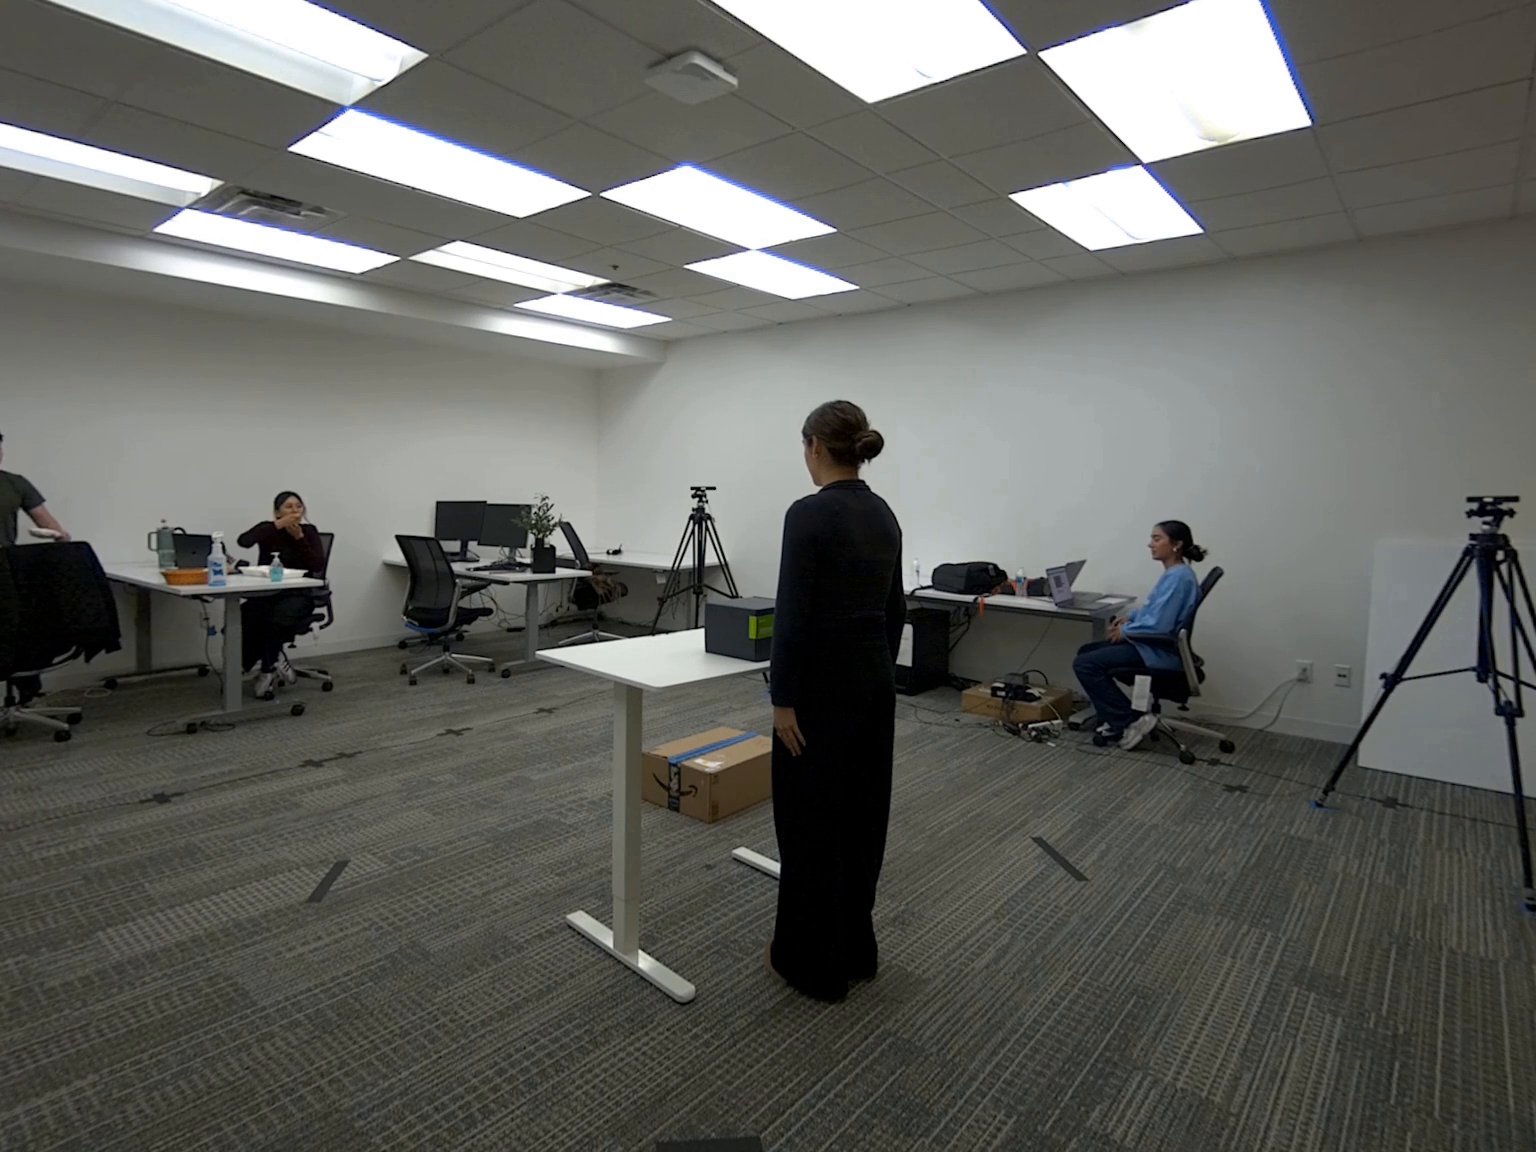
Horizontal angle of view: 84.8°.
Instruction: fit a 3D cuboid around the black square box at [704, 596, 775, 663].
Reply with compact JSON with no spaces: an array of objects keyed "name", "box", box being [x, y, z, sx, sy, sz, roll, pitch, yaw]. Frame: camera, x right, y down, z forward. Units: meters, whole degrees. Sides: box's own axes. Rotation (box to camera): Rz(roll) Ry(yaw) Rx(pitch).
[{"name":"black square box","box":[-0.051,0.157,2.611,0.224,0.155,0.221,5,7,41]}]
